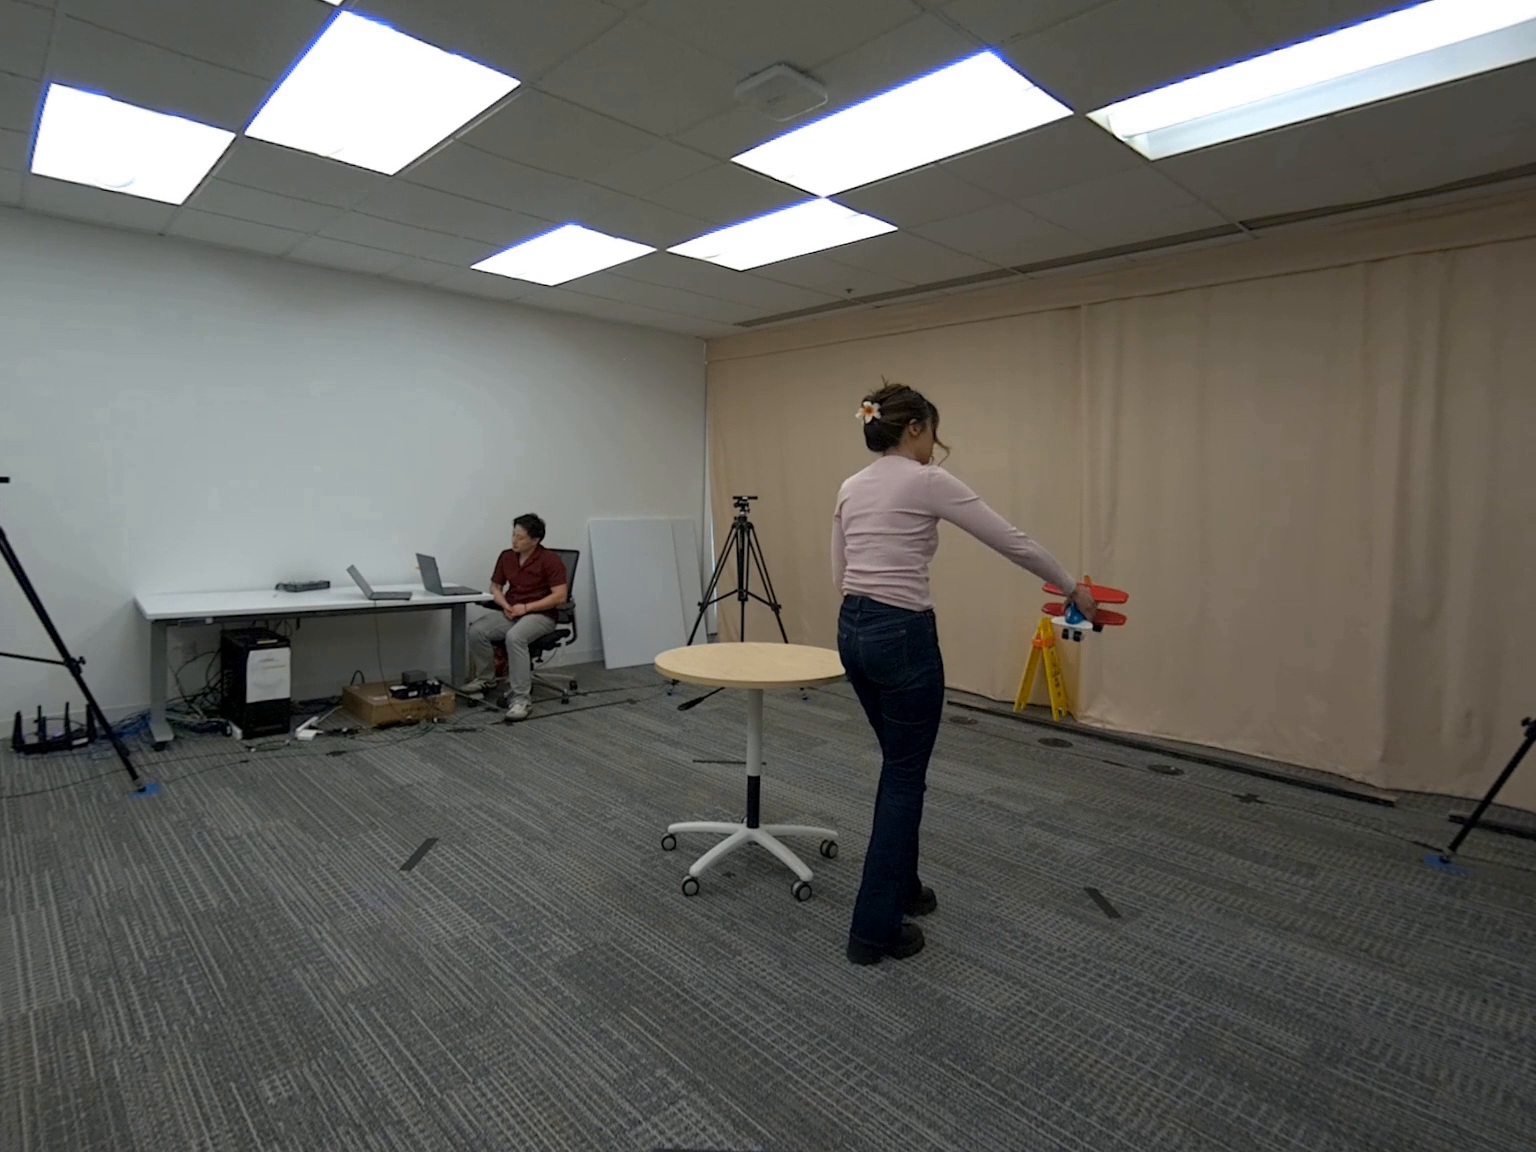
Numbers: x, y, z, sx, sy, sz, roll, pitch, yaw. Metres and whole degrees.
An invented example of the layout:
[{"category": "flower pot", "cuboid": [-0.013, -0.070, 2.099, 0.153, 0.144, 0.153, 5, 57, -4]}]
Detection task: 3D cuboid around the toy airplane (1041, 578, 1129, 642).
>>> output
[{"category": "toy airplane", "cuboid": [1.011, 0.115, 2.673, 0.252, 0.155, 0.260, 3, 11, 3]}]
